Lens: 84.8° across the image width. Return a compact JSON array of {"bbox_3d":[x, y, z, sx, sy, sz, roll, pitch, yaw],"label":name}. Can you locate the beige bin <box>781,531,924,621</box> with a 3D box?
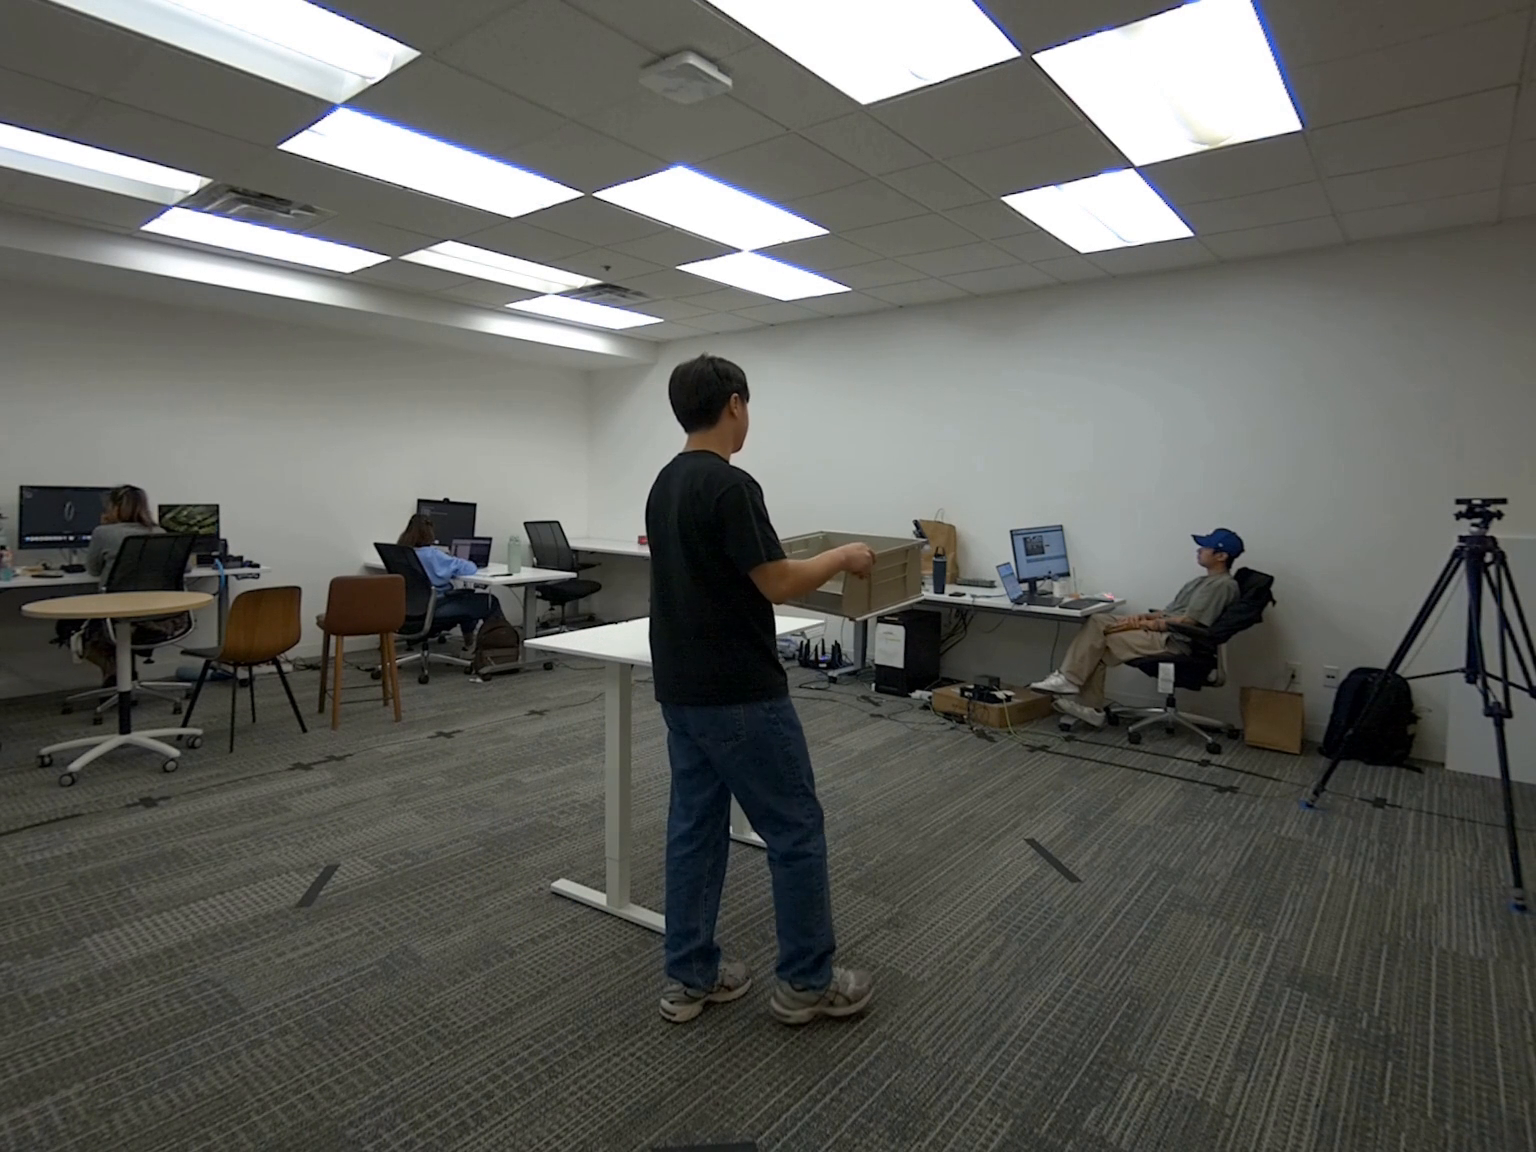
[{"bbox_3d":[0.190,-0.008,2.564,0.368,0.187,0.437,-13,13,-40],"label":"beige bin"}]
